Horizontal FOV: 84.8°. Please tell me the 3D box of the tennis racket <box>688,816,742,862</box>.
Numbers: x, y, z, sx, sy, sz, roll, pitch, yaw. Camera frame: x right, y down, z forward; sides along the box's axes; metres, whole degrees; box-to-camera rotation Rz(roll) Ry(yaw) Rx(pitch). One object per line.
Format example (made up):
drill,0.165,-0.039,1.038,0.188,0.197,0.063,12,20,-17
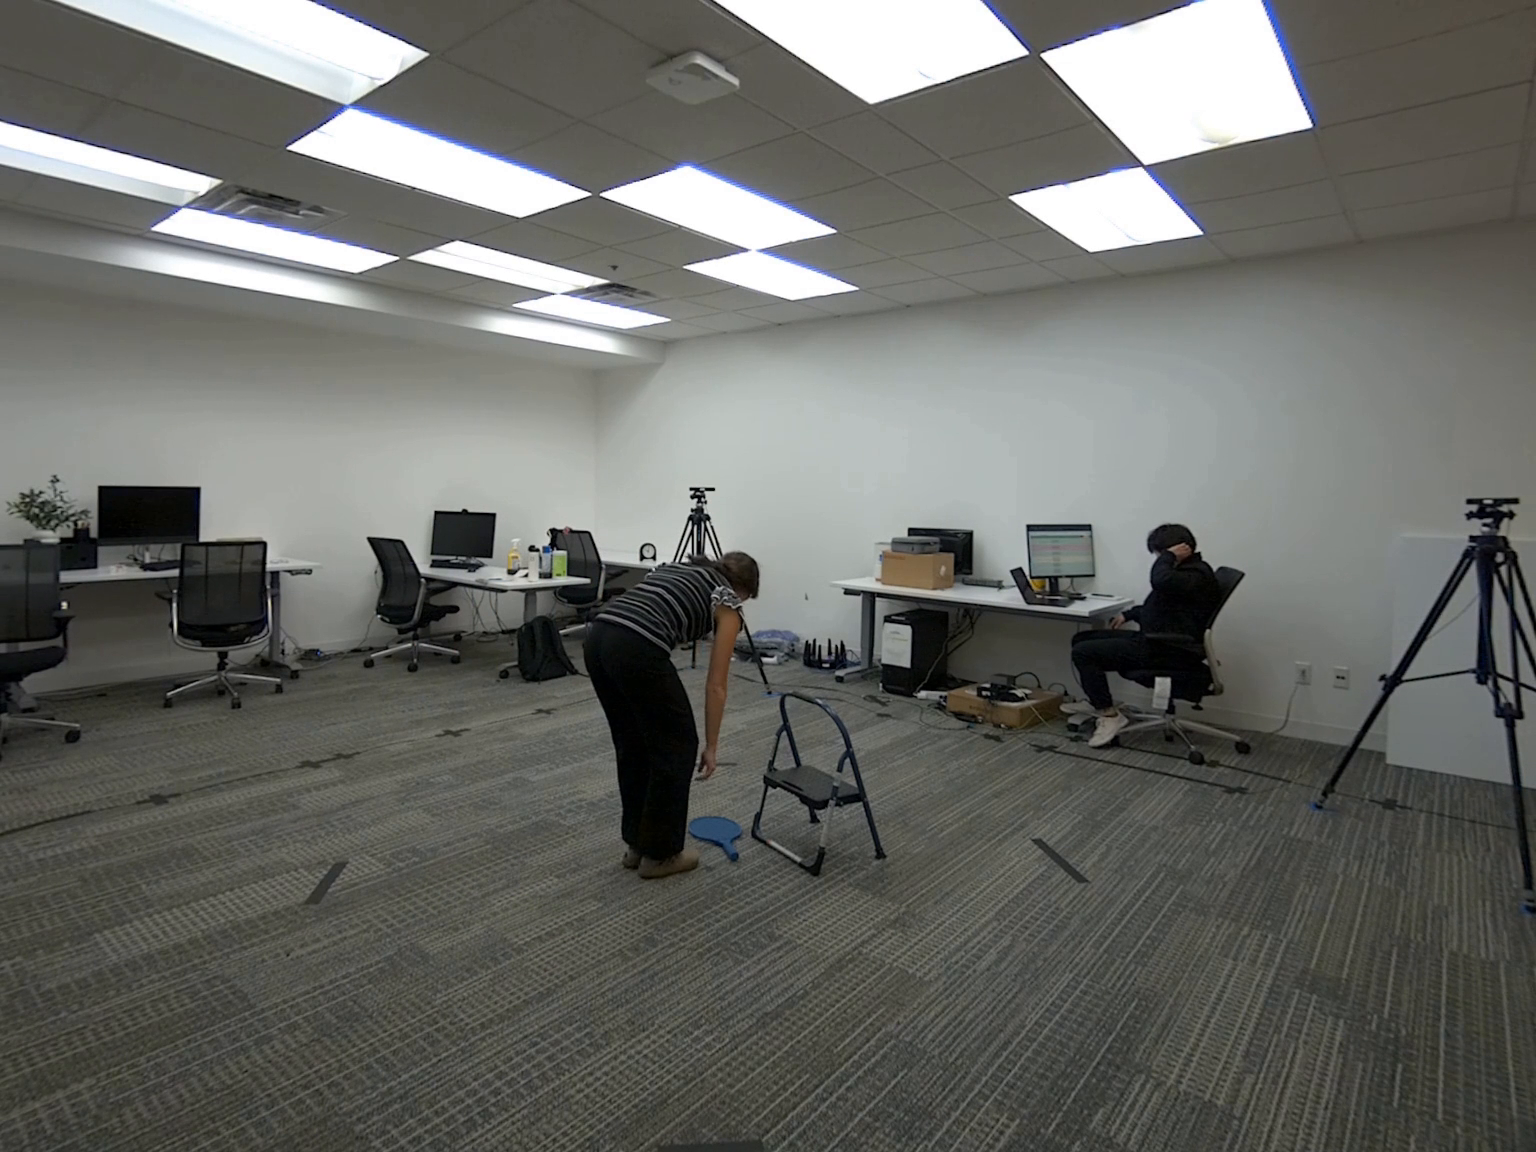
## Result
tennis racket,-0.205,1.025,3.378,0.210,0.031,0.441,-1,5,-17
